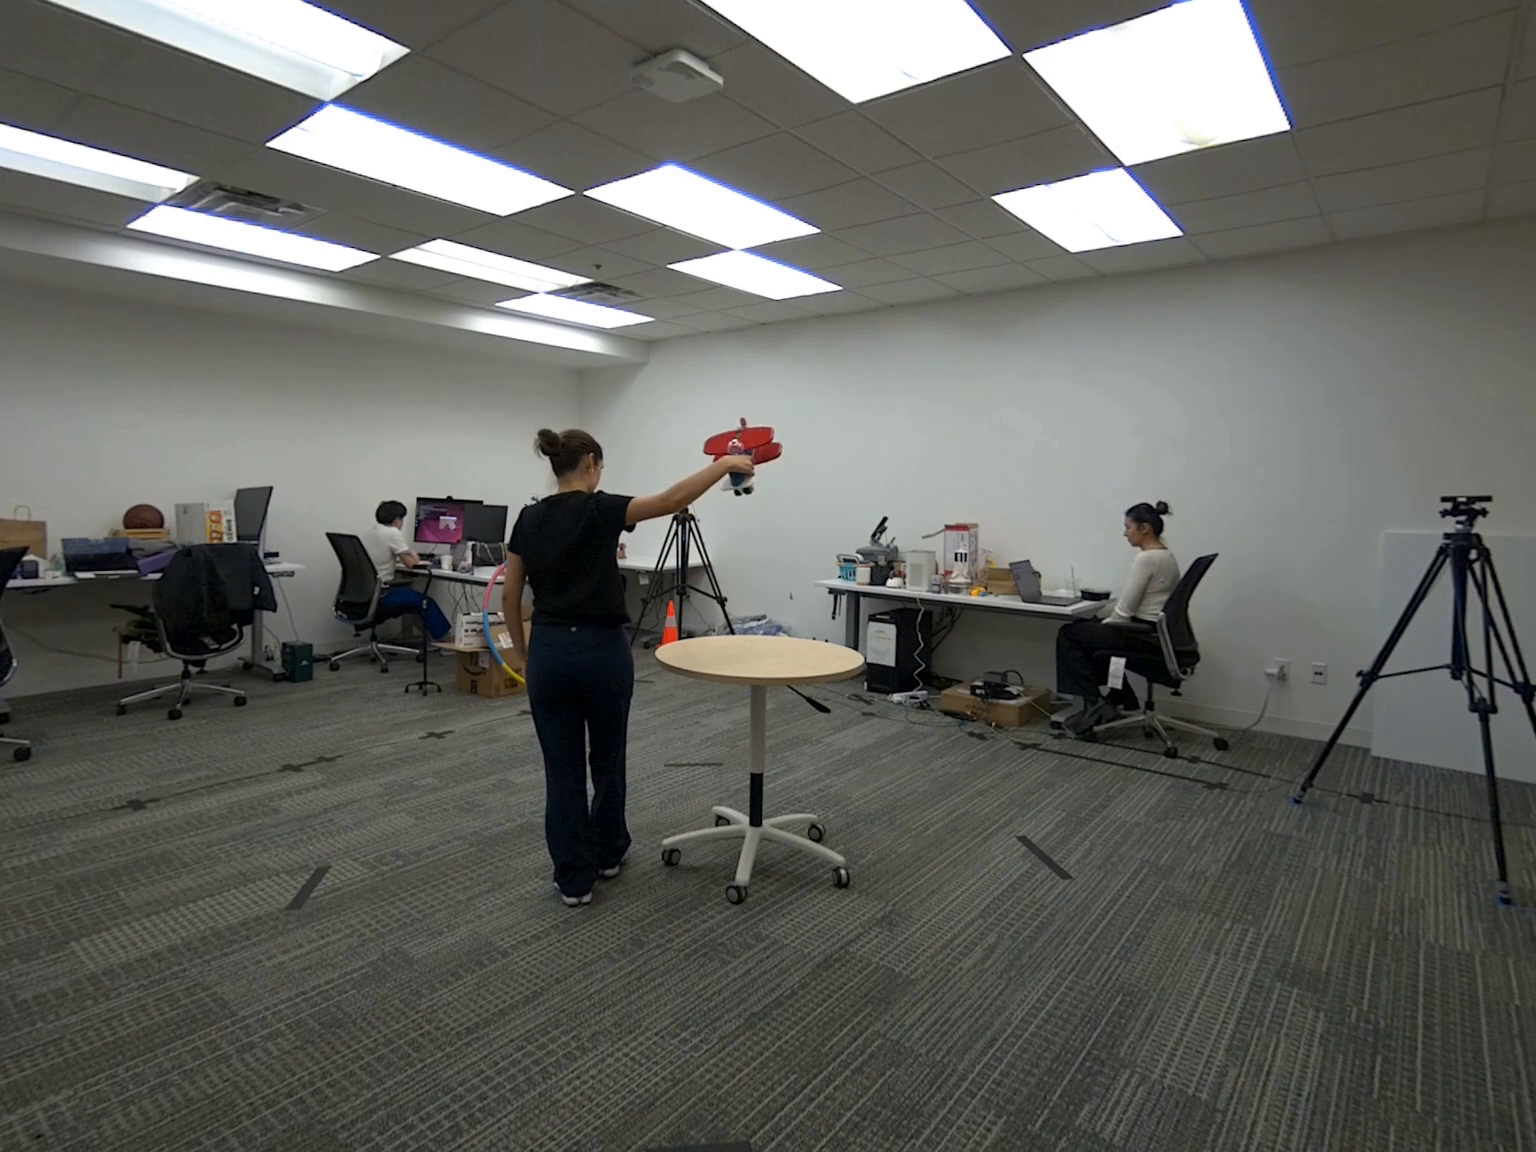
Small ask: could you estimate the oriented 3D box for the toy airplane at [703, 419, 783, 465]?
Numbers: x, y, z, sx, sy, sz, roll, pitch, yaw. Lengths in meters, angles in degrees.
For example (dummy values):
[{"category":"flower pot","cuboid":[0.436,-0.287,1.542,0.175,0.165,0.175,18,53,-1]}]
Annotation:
[{"category":"toy airplane","cuboid":[-0.055,-0.386,2.870,0.251,0.151,0.268,-25,35,2]}]
